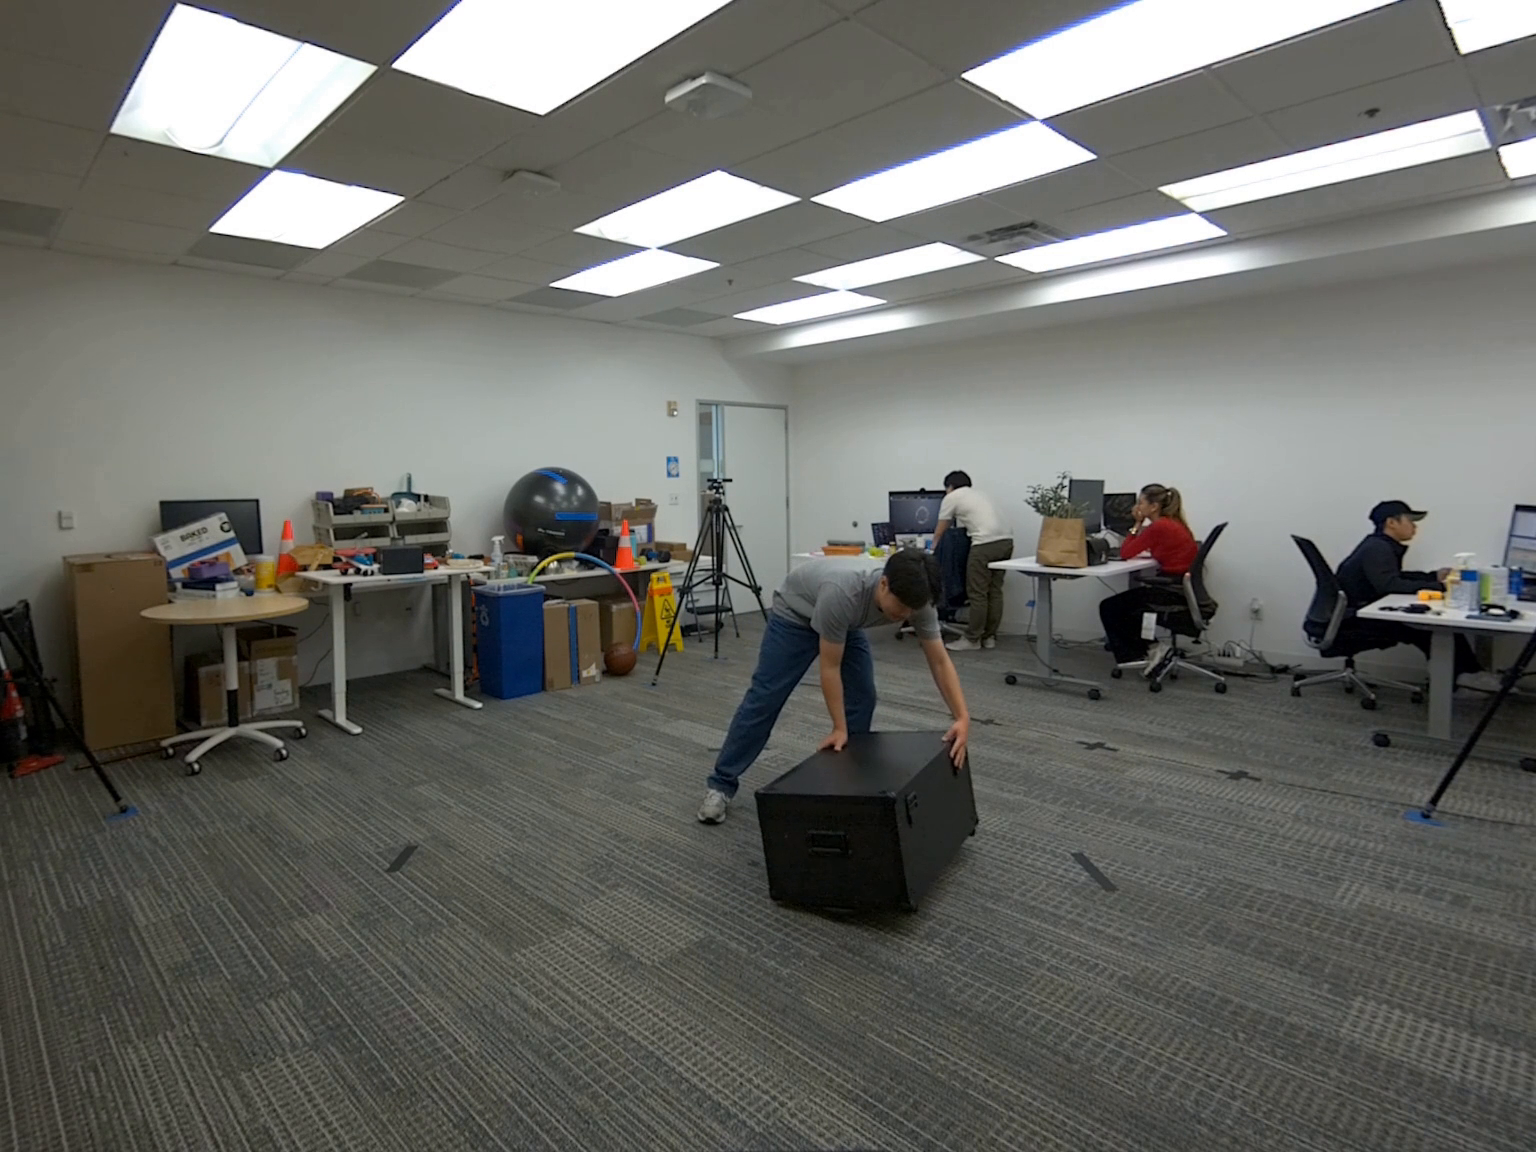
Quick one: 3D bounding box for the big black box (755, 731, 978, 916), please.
[{"bbox_3d":[0.397,0.832,3.022,0.532,0.396,0.843,-9,2,29],"label":"big black box"}]
